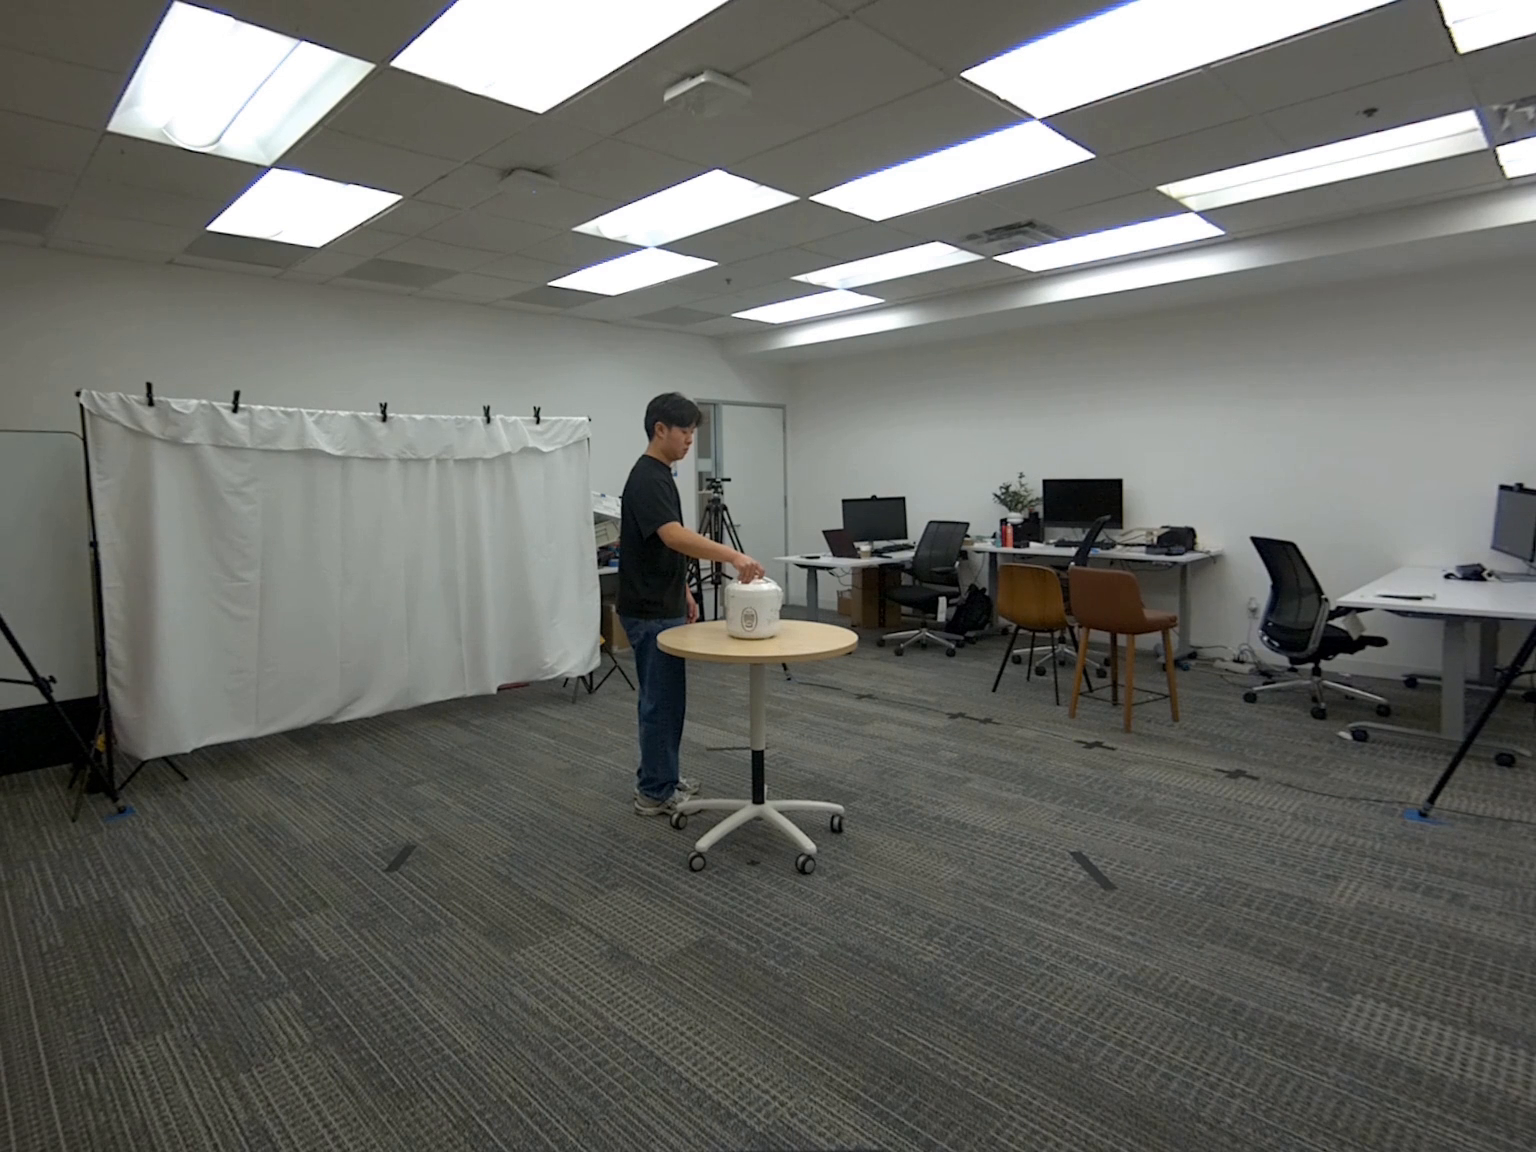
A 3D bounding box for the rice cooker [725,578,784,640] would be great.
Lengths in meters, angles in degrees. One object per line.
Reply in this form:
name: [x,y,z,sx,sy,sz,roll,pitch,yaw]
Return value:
rice cooker: [-0.051,0.112,3.256,0.222,0.232,0.216,-1,3,7]
